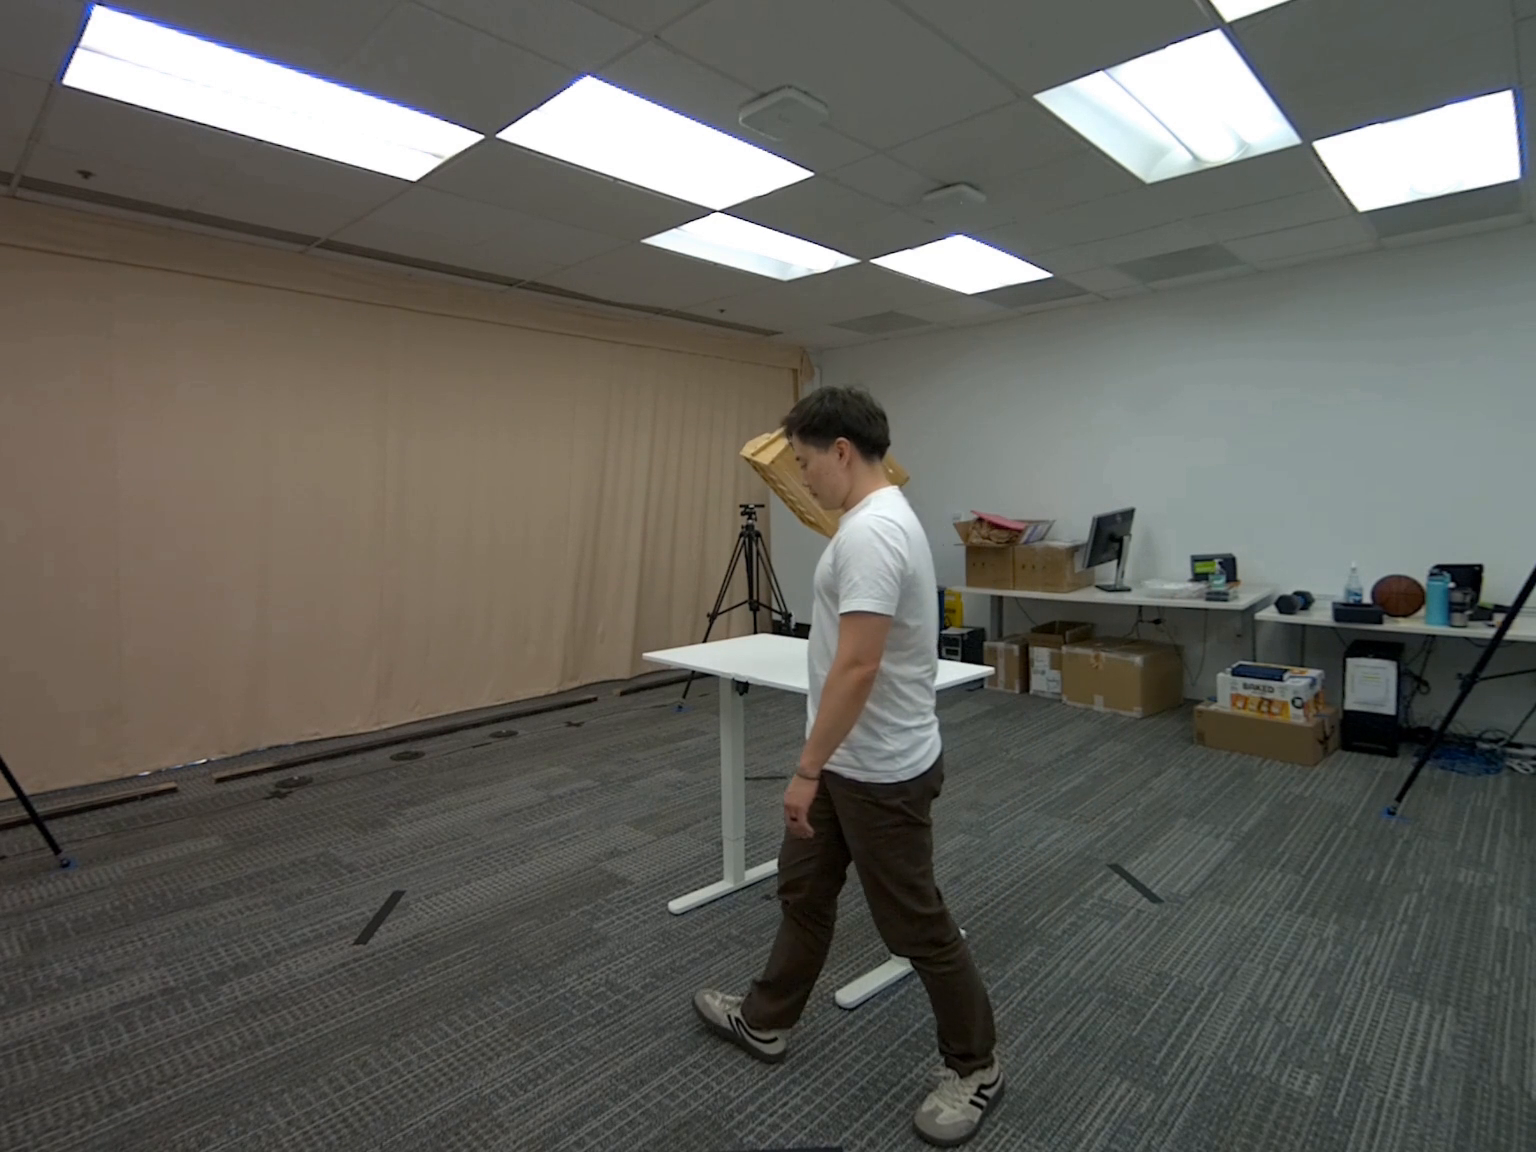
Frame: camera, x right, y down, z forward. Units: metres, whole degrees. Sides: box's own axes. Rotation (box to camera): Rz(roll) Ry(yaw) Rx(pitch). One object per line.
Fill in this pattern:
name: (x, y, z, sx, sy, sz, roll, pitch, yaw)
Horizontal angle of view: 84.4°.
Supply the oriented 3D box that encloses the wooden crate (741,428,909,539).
wooden crate: (0.151, -0.318, 2.347, 0.316, 0.273, 0.310, 46, -3, -24)
